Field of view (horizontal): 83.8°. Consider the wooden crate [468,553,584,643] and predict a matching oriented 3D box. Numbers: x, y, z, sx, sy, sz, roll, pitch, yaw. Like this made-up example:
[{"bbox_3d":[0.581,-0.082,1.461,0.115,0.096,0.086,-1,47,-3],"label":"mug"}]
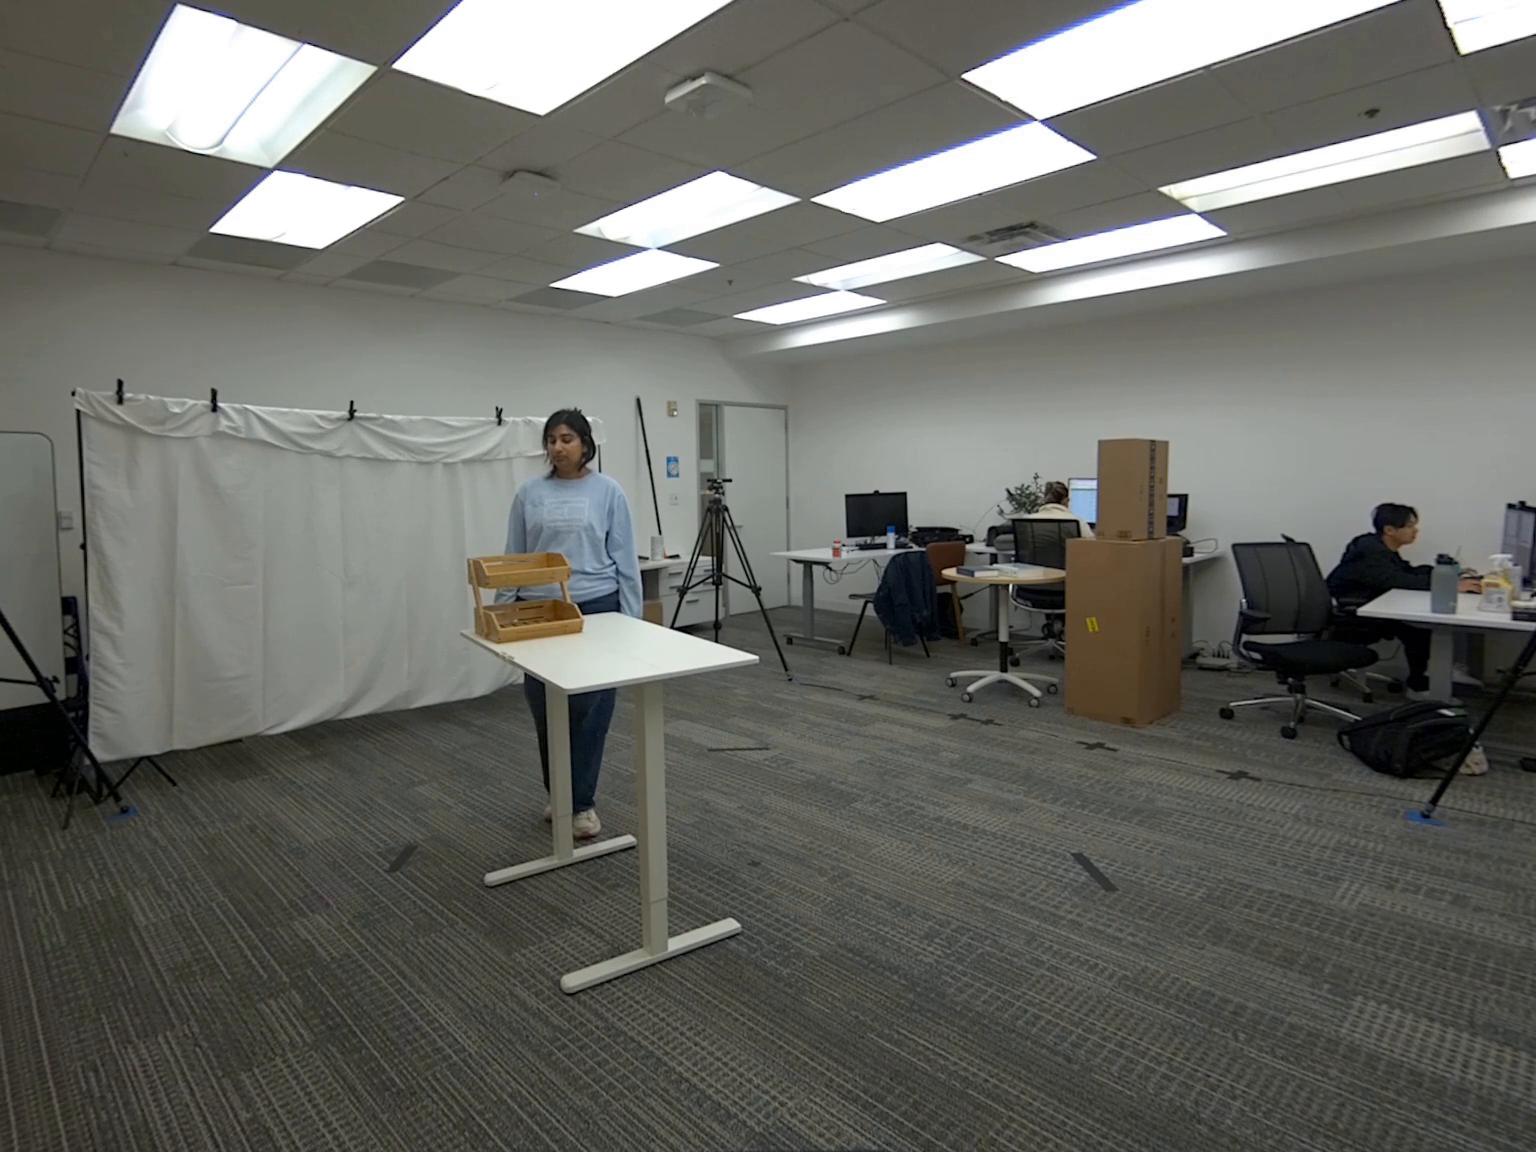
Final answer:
[{"bbox_3d":[-0.837,0.064,2.947,0.316,0.272,0.311,-5,6,-35],"label":"wooden crate"}]
